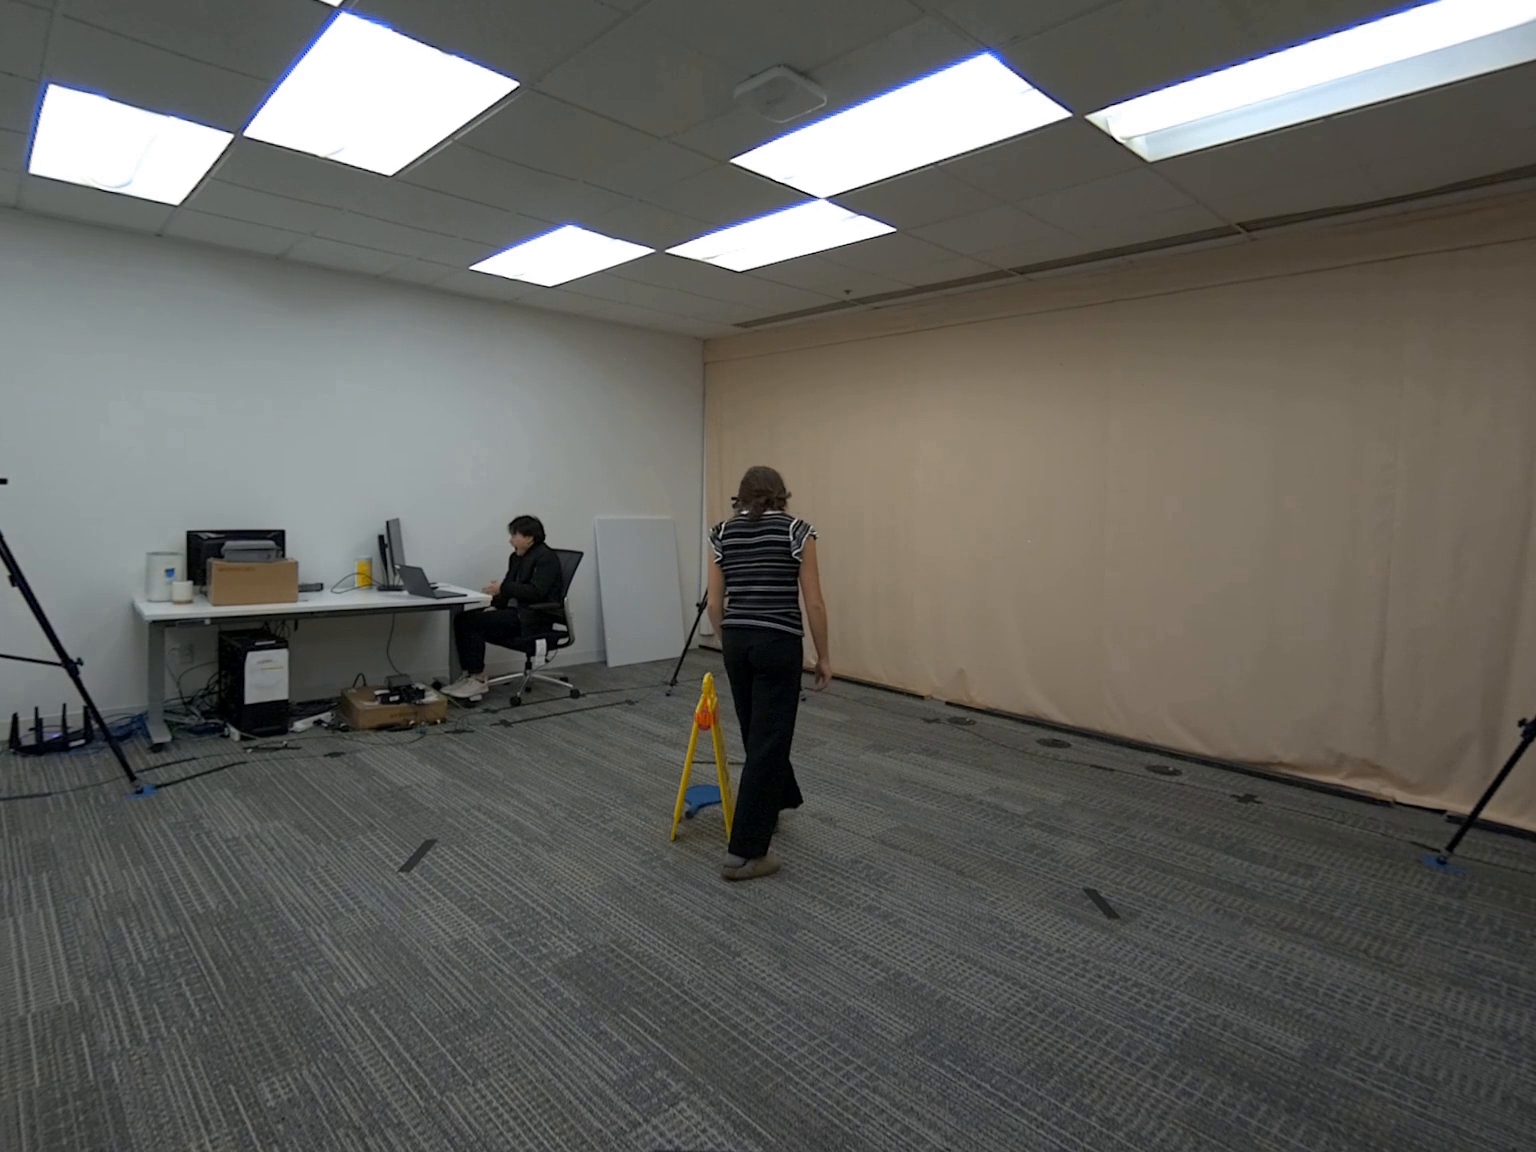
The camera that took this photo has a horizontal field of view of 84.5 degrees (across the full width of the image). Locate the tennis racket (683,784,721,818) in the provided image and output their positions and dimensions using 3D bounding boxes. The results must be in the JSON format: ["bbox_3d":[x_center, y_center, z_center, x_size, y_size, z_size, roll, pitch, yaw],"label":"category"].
[{"bbox_3d":[-0.321,1.026,3.863,0.216,0.032,0.429,2,4,11],"label":"tennis racket"}]
